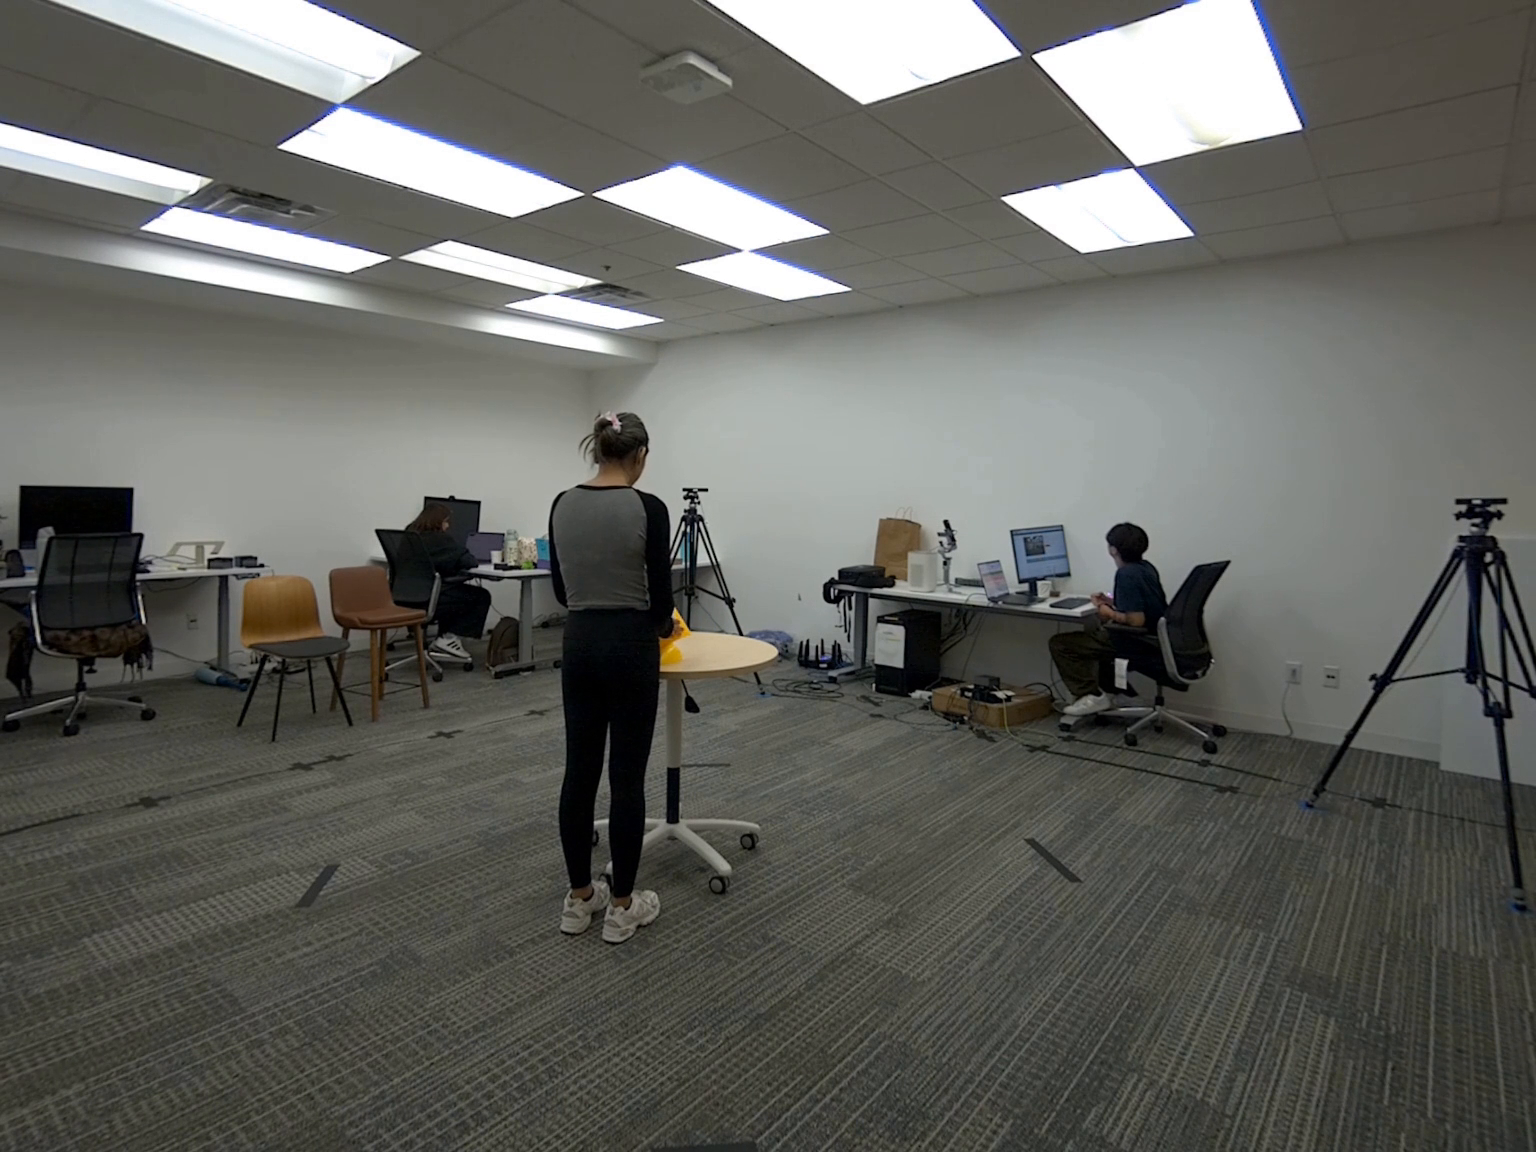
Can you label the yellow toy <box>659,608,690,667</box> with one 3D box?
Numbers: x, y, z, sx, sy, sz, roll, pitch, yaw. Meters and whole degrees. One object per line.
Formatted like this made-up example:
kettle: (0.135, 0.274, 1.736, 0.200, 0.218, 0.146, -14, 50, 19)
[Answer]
yellow toy: (-0.402, 0.173, 2.975, 0.210, 0.229, 0.189, 4, 7, 25)
